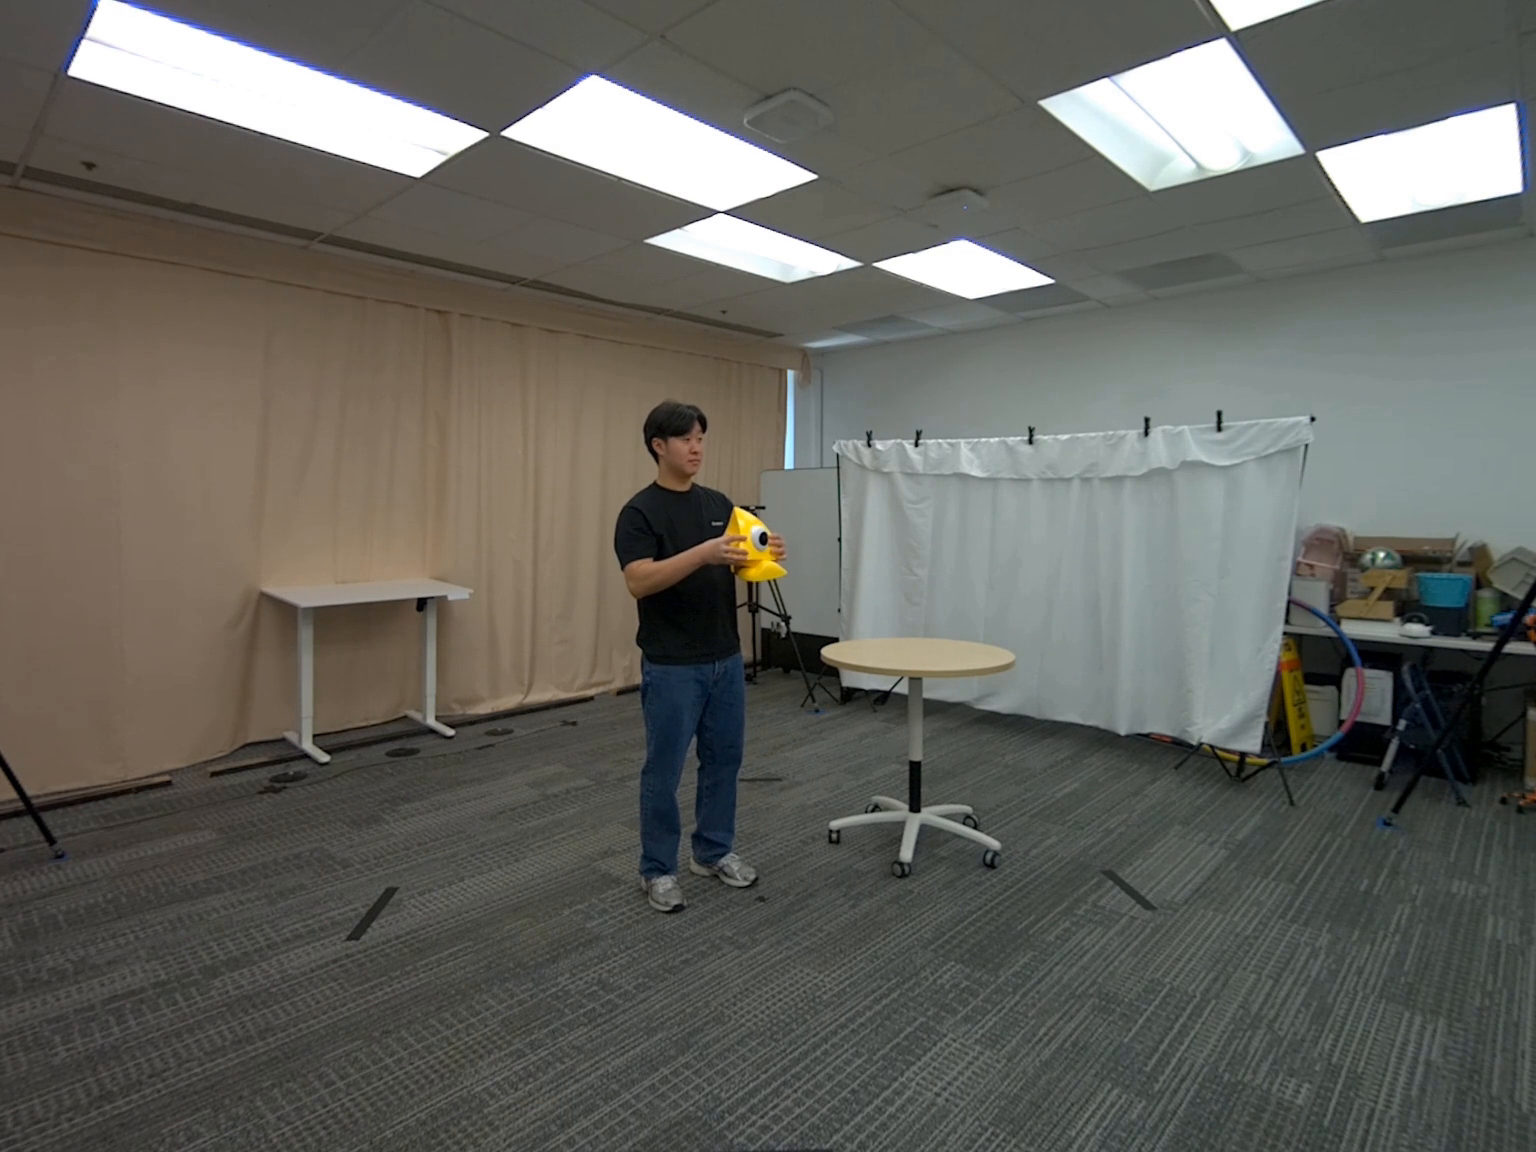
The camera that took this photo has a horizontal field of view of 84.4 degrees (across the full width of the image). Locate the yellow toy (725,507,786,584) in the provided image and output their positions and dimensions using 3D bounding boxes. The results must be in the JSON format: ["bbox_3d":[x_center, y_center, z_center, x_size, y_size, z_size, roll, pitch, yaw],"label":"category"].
[{"bbox_3d":[-0.050,-0.122,2.781,0.190,0.228,0.210,-7,16,-18],"label":"yellow toy"}]
